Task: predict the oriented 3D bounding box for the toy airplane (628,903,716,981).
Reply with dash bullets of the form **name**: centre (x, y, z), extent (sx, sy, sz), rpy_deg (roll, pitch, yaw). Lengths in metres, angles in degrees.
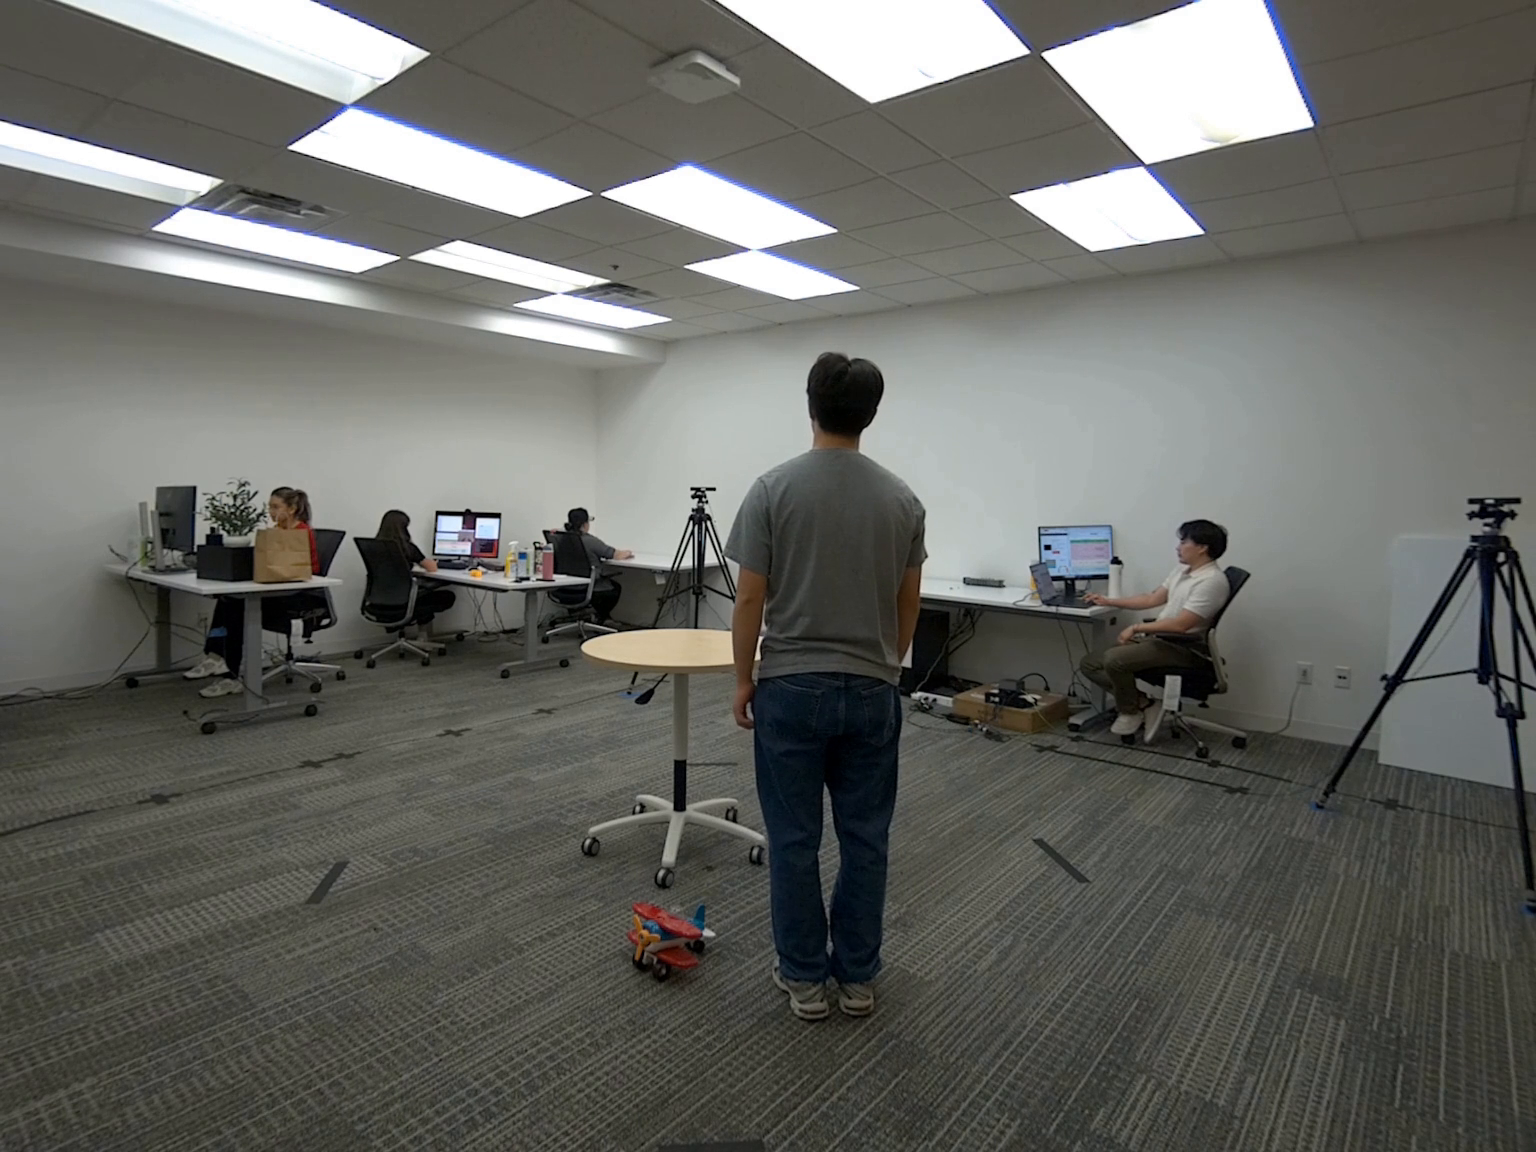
- **toy airplane**: centre (-0.303, 1.049, 2.499), extent (0.255, 0.155, 0.256), rpy_deg (3, 6, 13)
